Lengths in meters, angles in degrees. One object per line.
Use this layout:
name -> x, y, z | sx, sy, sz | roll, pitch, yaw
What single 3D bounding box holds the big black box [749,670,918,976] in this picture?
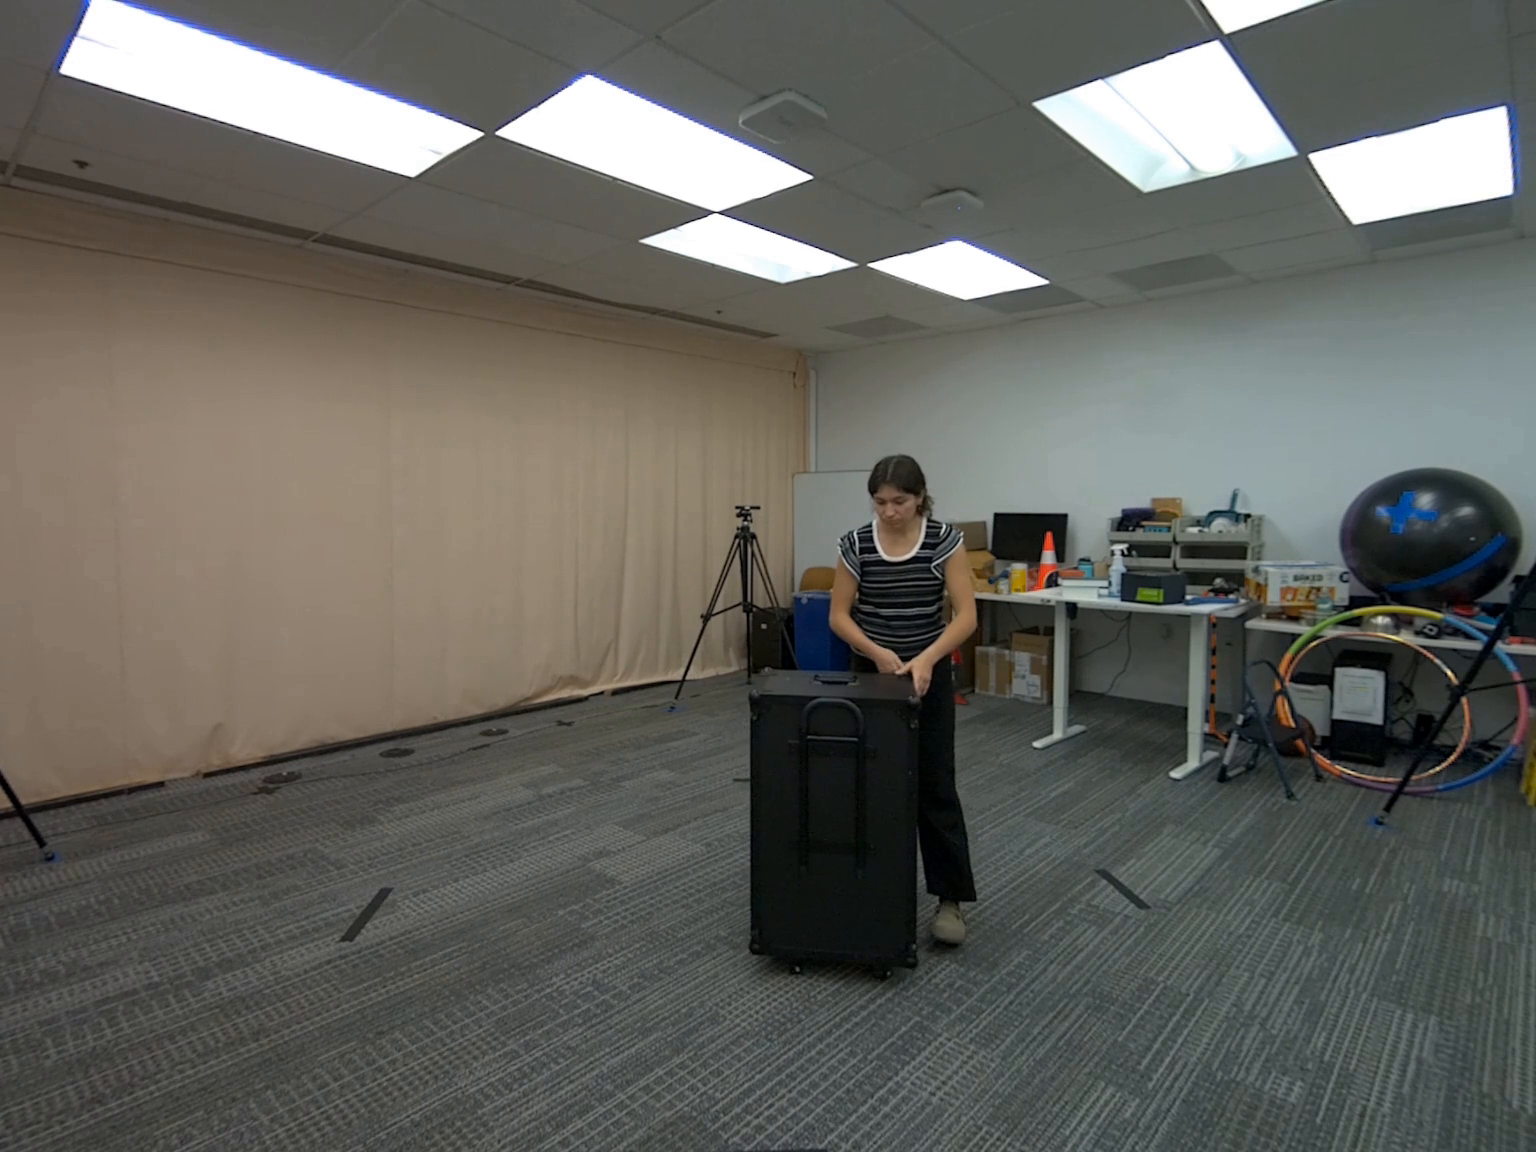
big black box -> 0.210, 0.755, 2.585 | 0.527, 0.859, 0.393 | 0, 3, 9
